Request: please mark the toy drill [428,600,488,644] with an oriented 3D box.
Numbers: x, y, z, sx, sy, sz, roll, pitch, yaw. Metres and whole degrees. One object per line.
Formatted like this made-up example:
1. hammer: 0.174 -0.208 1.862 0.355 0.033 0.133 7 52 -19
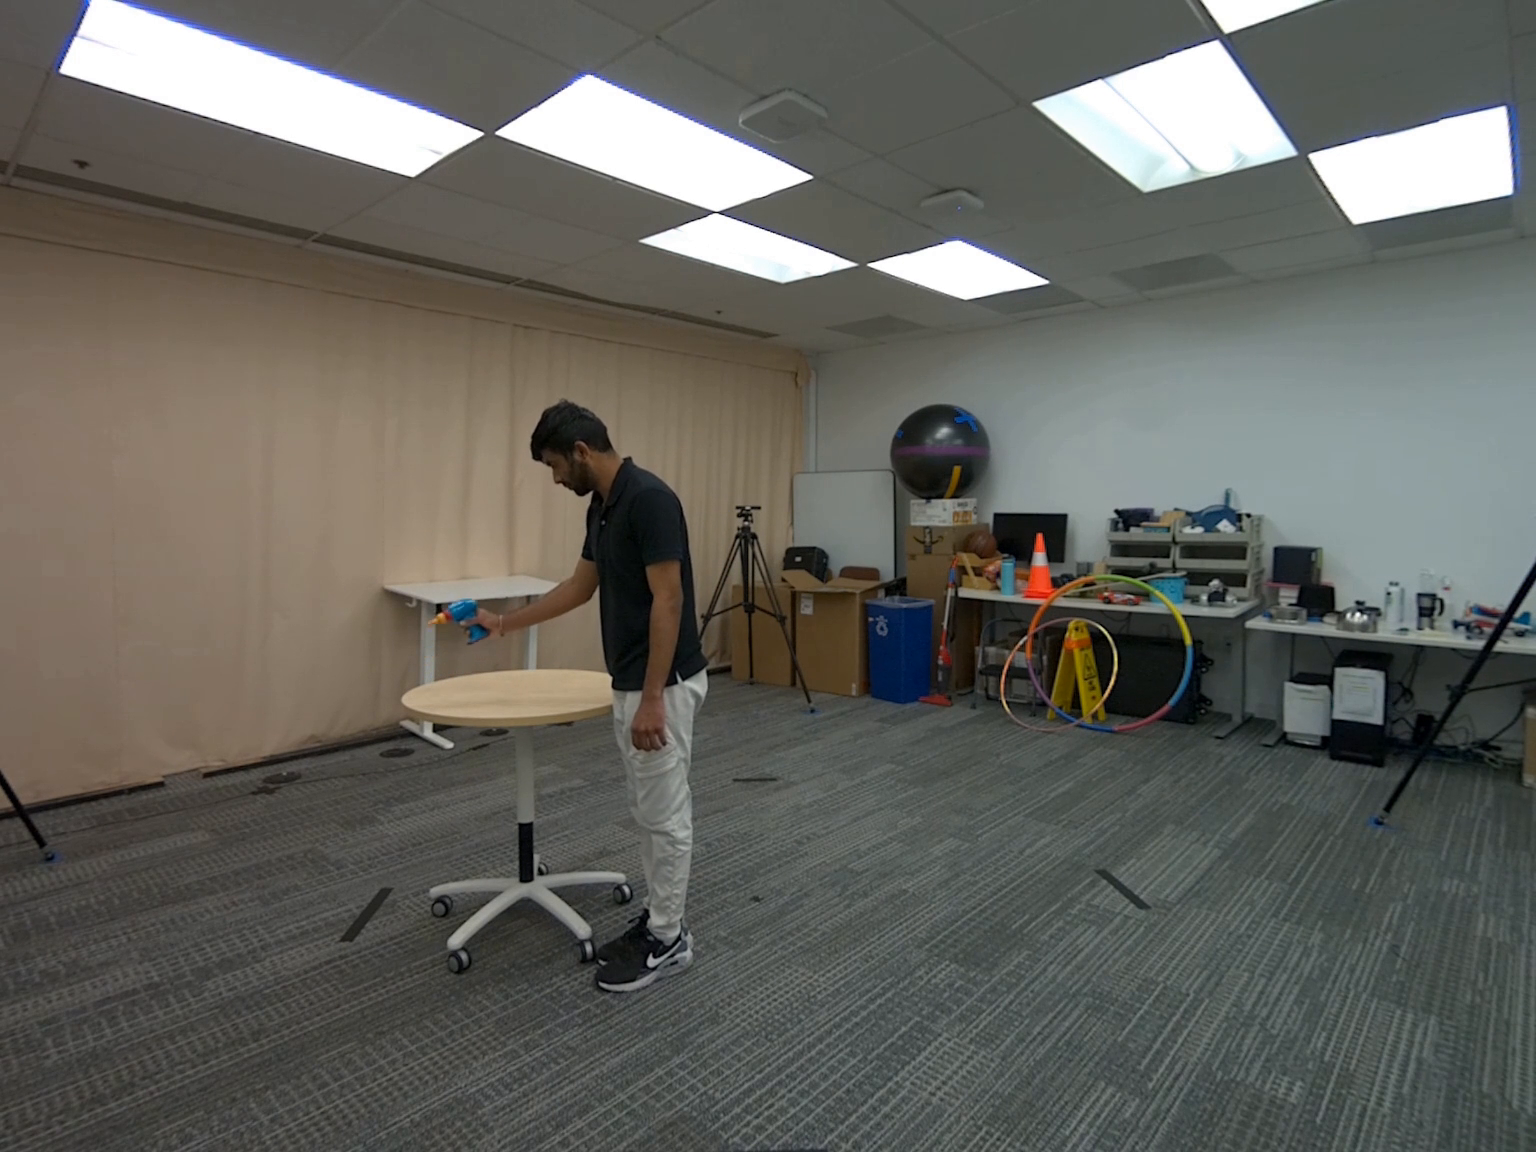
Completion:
1. toy drill: -0.969 0.159 2.648 0.167 0.147 0.062 -28 -5 -32
